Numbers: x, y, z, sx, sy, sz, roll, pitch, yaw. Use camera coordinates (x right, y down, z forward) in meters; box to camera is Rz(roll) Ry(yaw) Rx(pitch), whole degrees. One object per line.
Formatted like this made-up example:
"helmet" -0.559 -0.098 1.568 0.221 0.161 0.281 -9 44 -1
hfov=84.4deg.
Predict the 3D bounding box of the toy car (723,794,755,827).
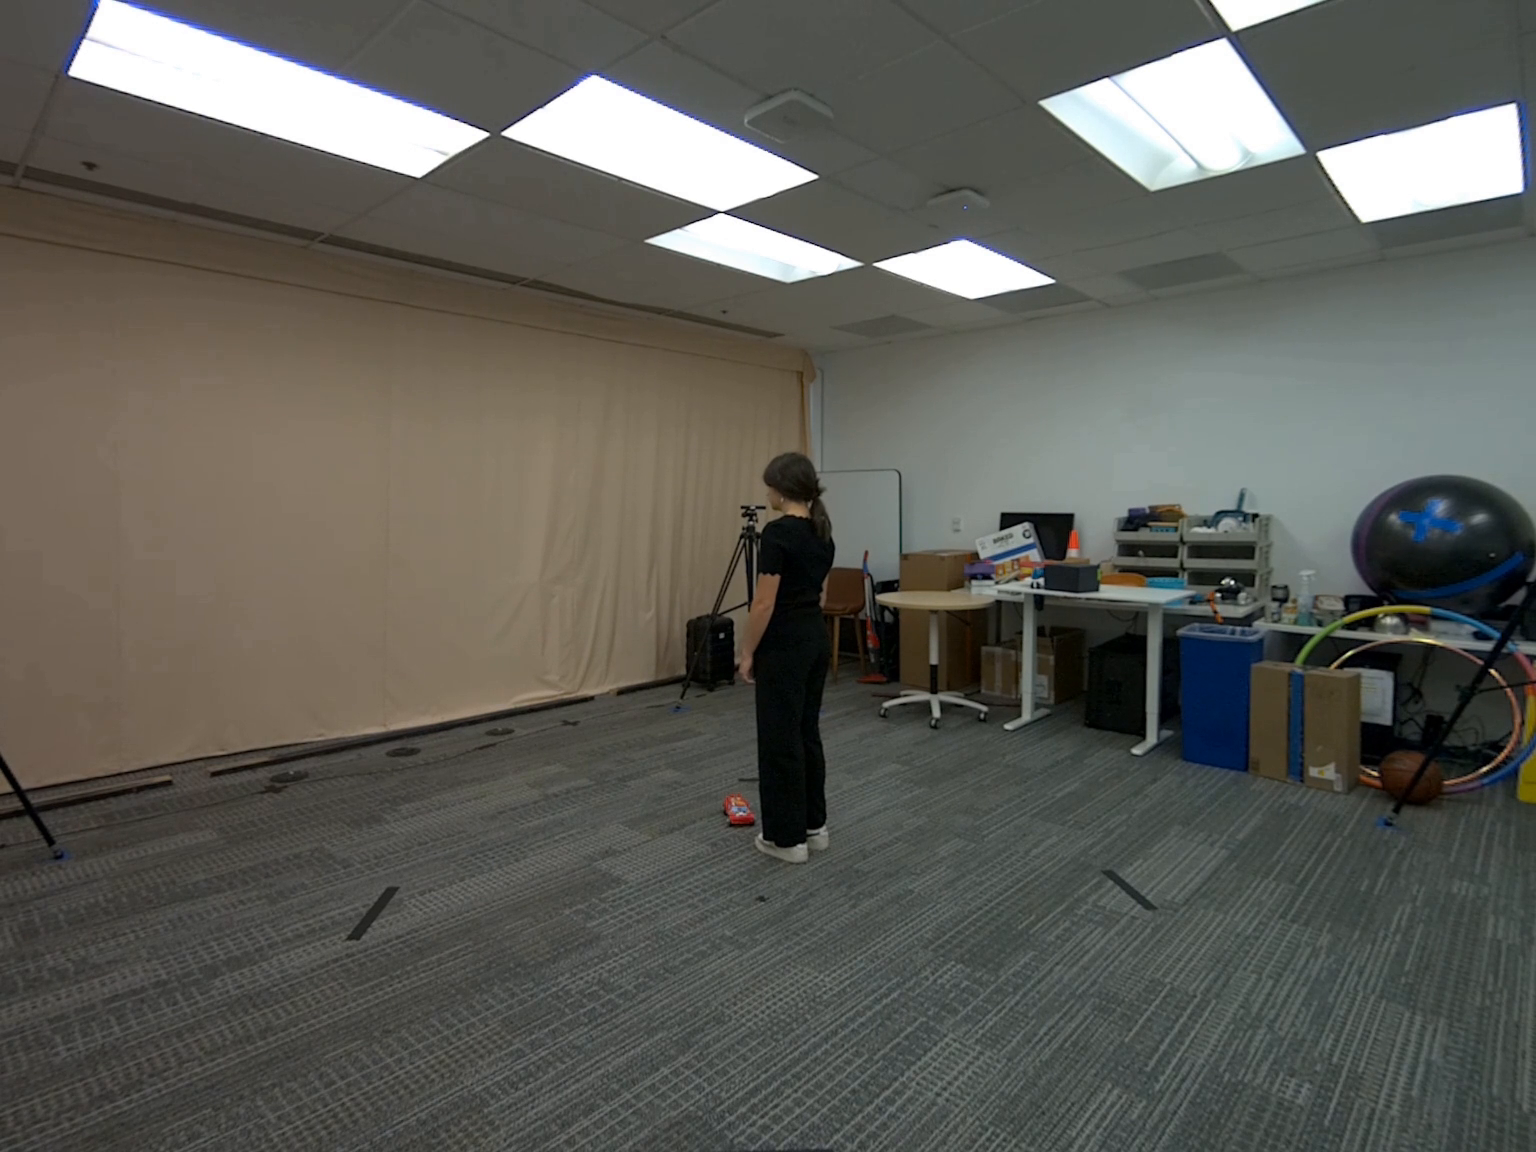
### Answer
"toy car" -0.134 1.049 3.767 0.129 0.082 0.259 -1 15 -9
